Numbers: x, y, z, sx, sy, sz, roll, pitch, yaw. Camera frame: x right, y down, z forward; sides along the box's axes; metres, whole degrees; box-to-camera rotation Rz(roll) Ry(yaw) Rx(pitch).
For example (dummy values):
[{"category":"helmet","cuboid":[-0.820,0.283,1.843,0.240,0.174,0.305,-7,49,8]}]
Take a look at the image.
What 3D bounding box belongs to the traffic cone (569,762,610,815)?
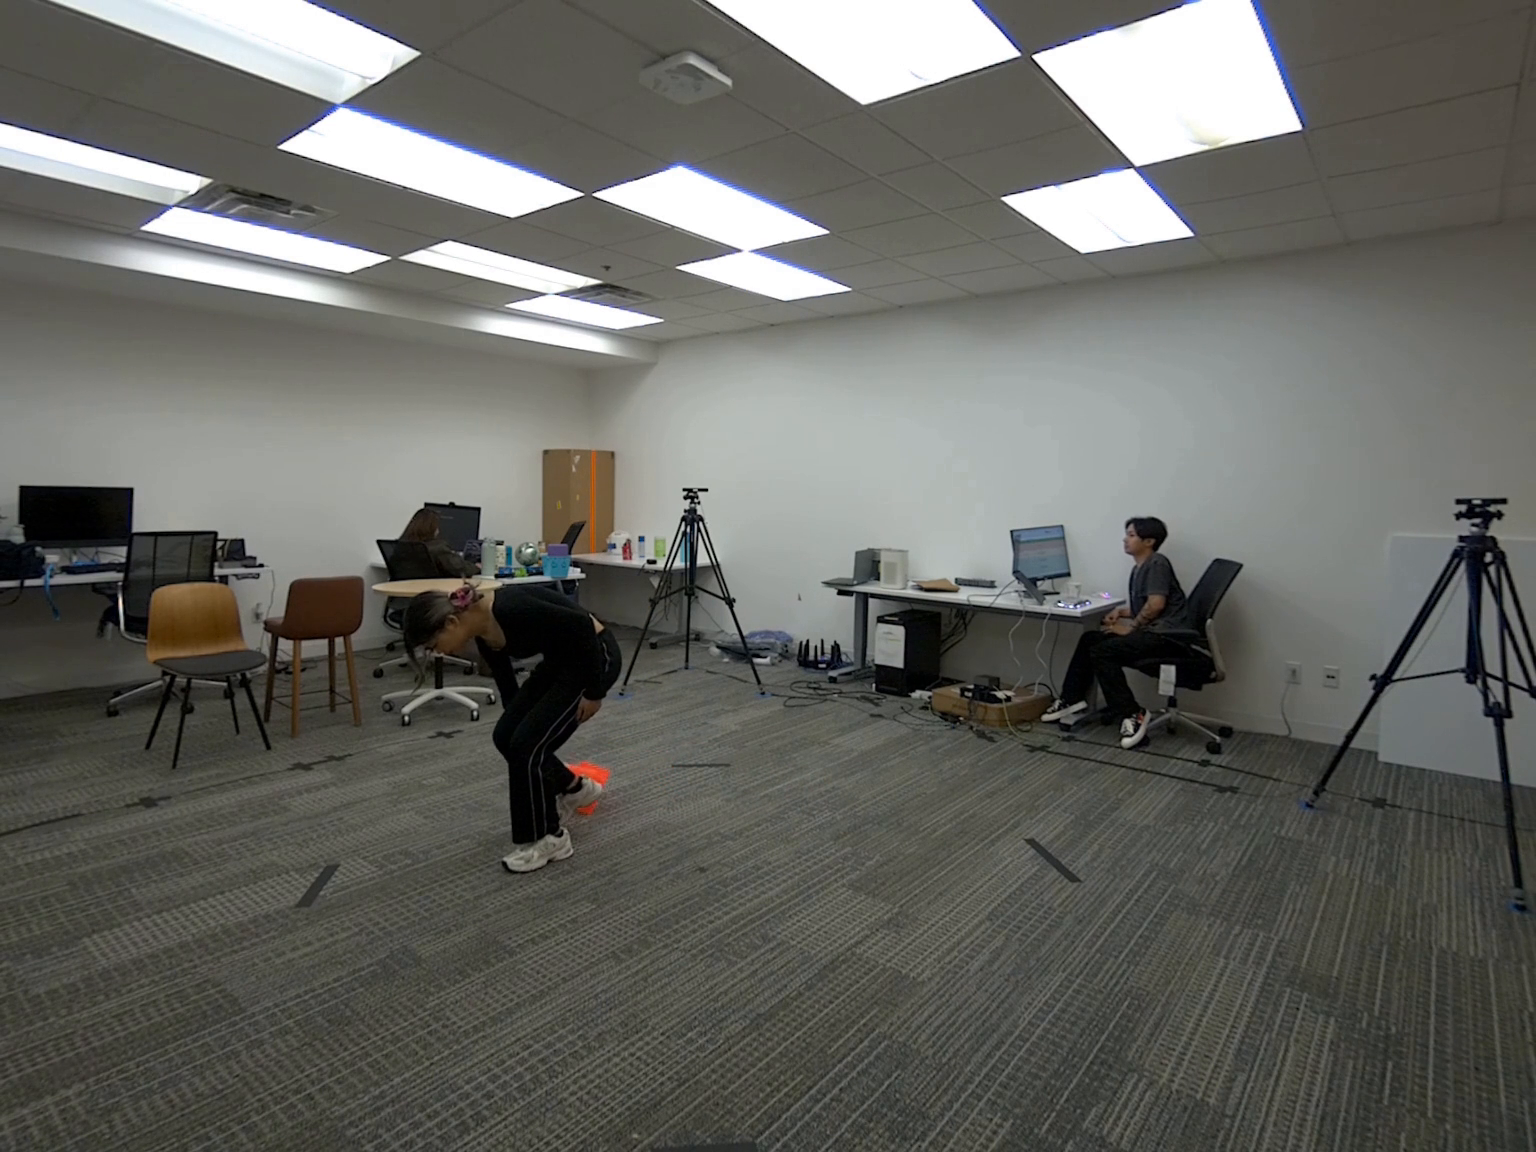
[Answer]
[{"category":"traffic cone","cuboid":[-0.903,0.828,3.584,0.212,0.205,0.368,5,-28,42]}]
